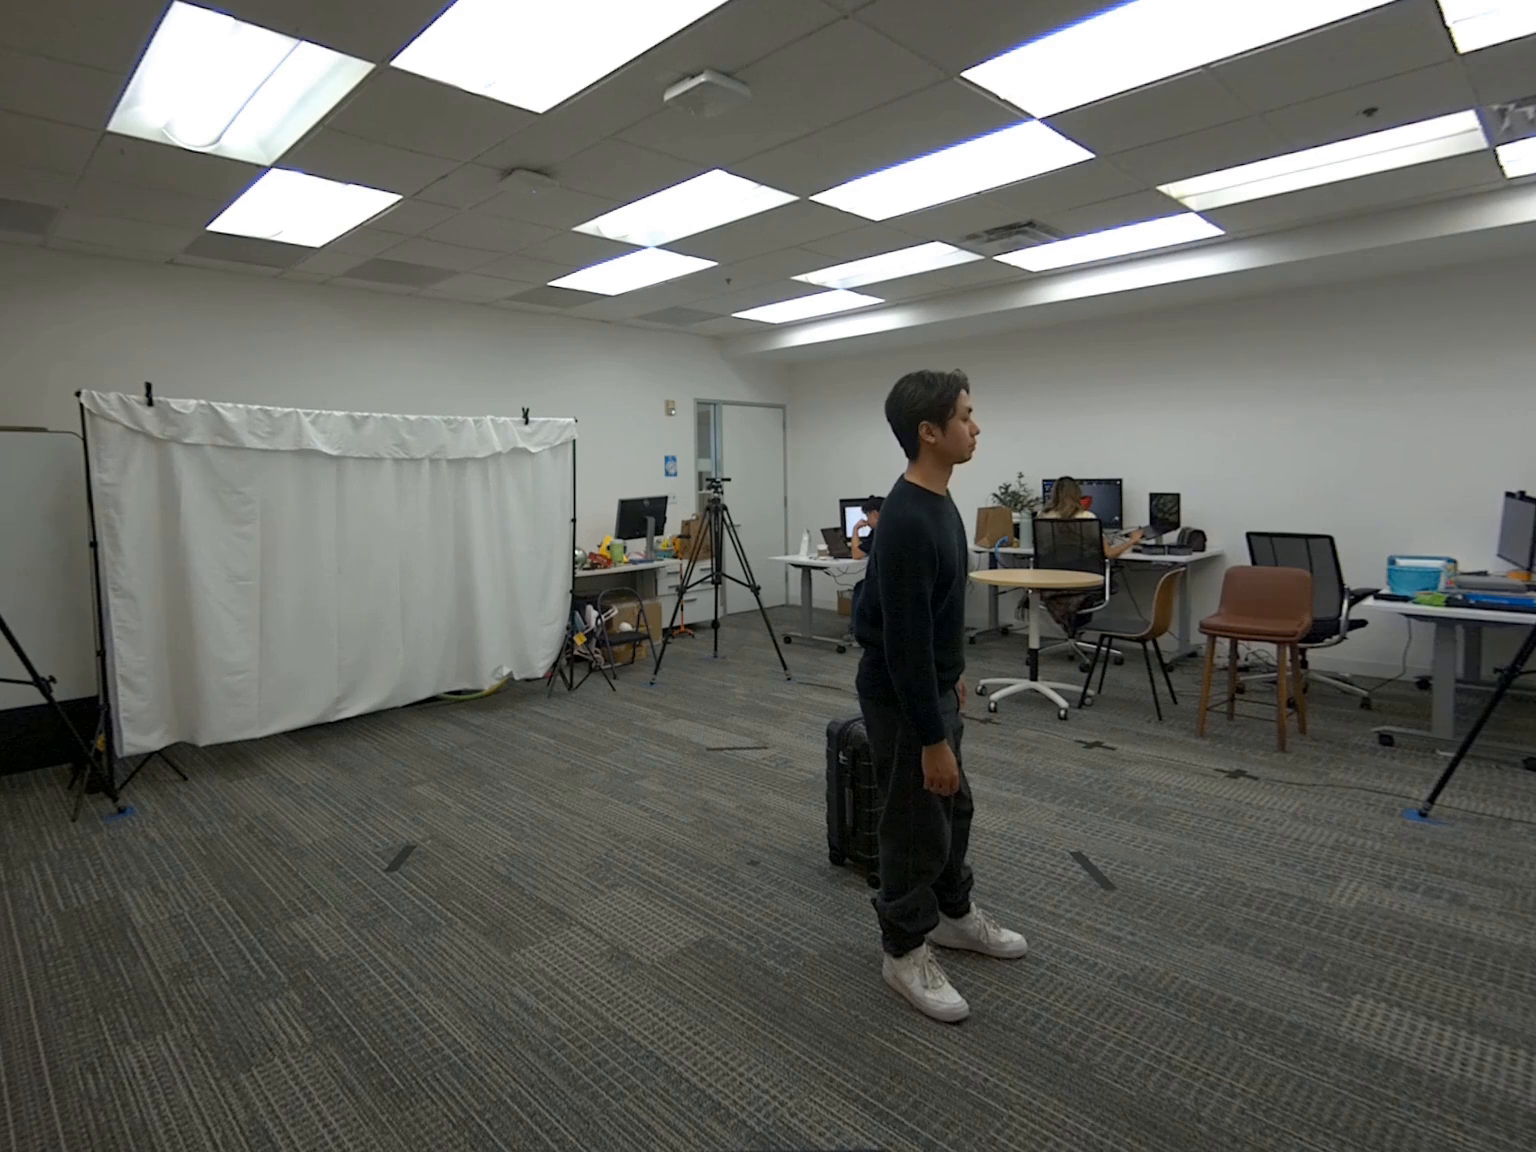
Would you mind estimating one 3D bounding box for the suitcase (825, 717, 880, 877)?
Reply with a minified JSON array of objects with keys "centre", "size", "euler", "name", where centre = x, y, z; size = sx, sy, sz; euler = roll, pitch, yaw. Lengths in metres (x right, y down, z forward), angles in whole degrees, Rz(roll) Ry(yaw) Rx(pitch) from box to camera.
[{"centre":[0.401,0.565,3.066],"size":[0.375,0.978,0.263],"euler":[-4,1,-31],"name":"suitcase"}]
